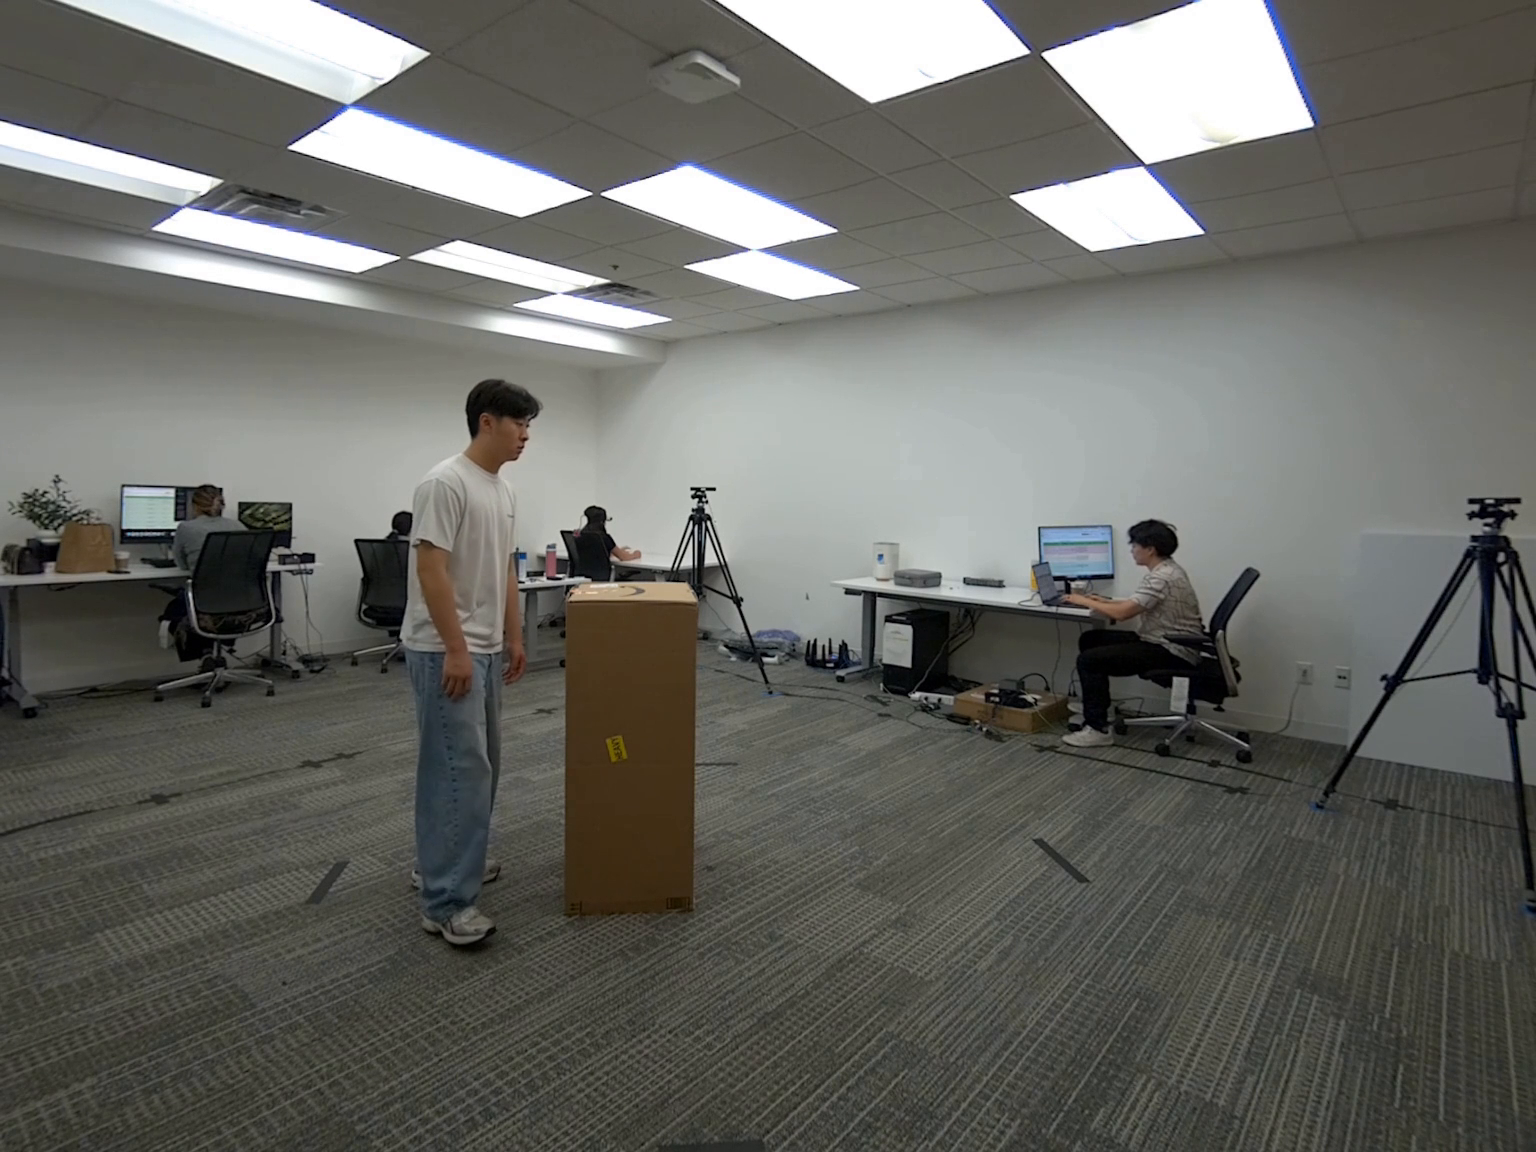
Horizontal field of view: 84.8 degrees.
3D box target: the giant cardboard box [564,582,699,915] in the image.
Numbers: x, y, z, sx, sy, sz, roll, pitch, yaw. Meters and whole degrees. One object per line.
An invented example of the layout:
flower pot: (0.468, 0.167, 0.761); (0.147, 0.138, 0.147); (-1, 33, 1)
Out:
giant cardboard box: (-0.499, 0.559, 3.028); (0.423, 1.023, 0.584); (1, 3, -8)
